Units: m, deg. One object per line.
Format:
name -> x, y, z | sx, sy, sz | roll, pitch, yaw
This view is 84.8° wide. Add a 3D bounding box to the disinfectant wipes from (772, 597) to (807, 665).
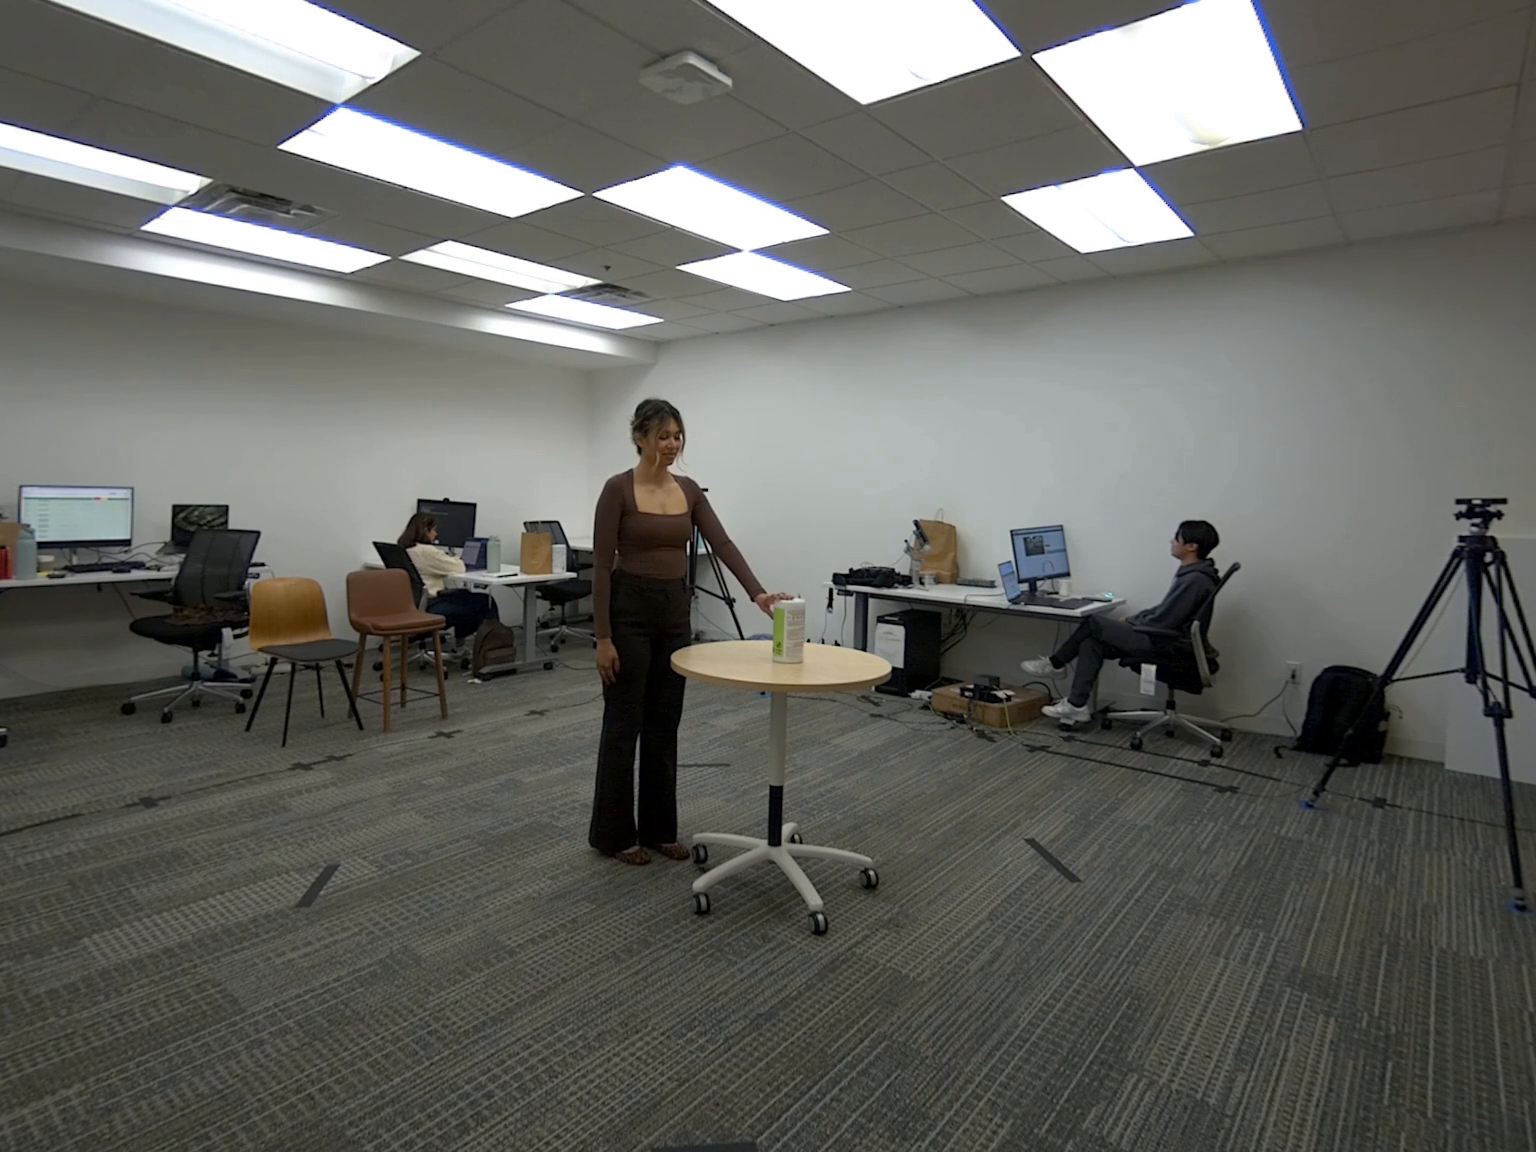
disinfectant wipes -> 0.068, 0.187, 2.957 | 0.118, 0.217, 0.118 | 0, 2, -2
